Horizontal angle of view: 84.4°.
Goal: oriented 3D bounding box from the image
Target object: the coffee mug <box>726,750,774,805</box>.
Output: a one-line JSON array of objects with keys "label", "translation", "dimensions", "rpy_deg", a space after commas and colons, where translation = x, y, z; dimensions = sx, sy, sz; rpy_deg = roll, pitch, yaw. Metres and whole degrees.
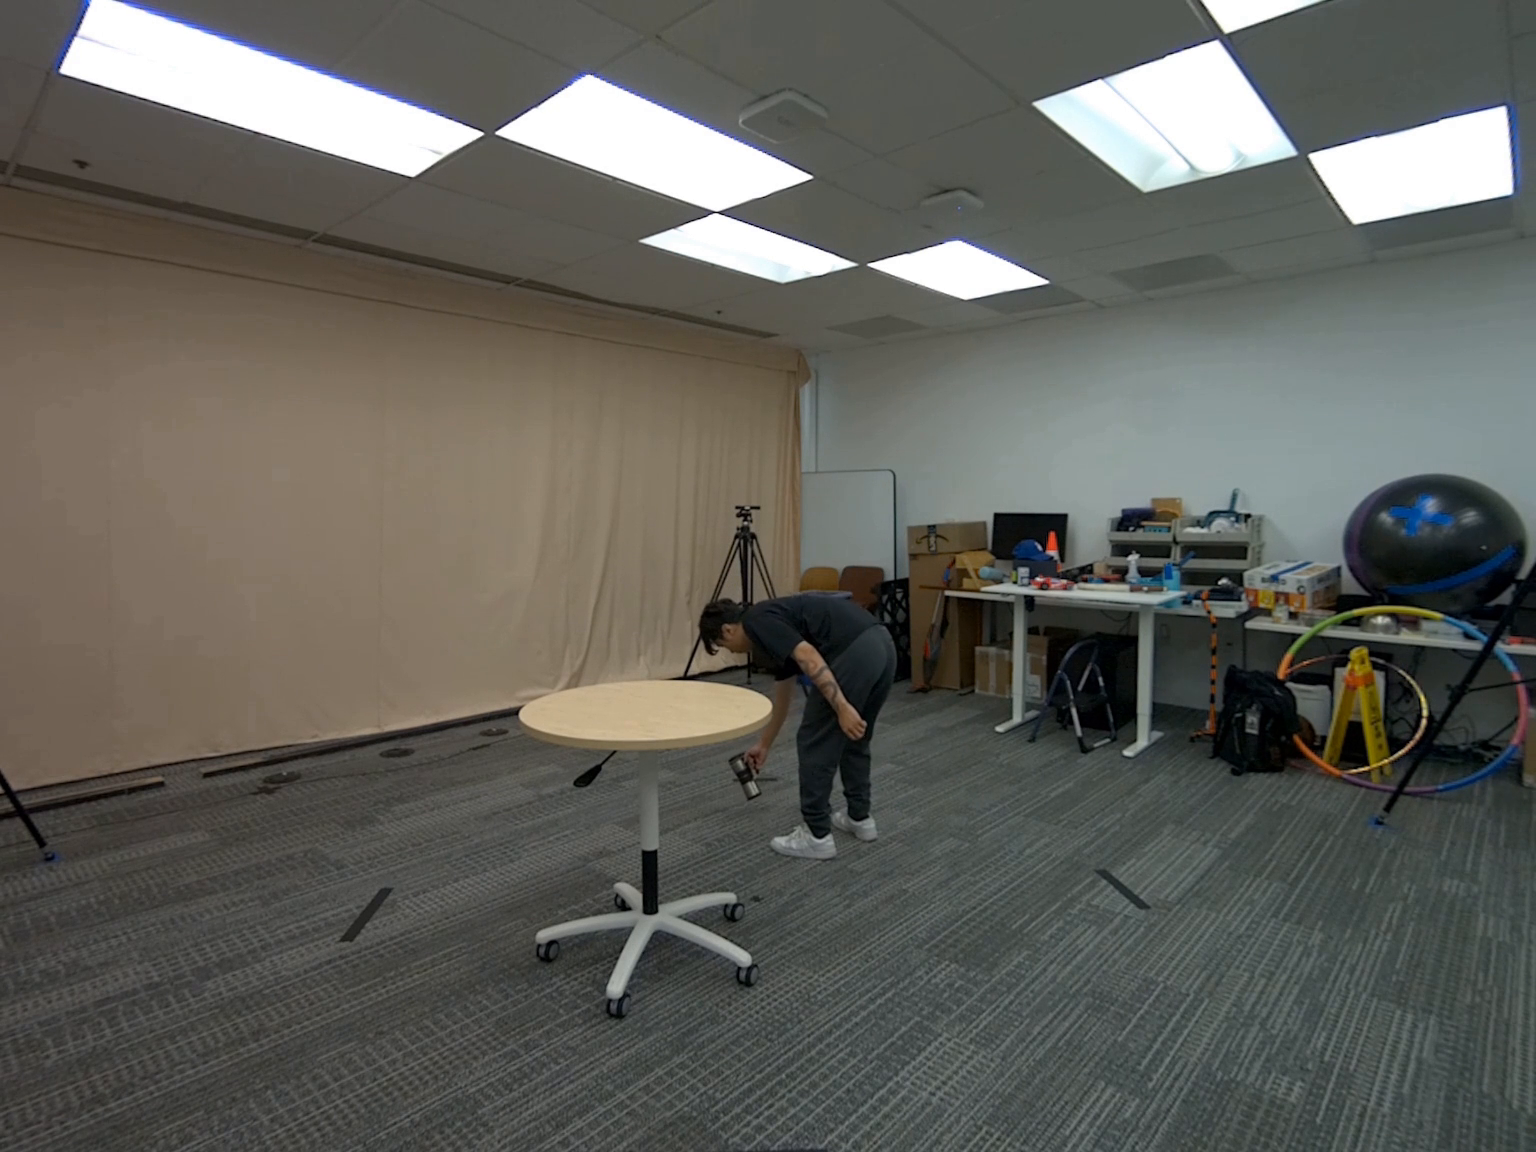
[{"label": "coffee mug", "translation": [-0.084, 0.909, 3.842], "dimensions": [0.123, 0.207, 0.085], "rpy_deg": [-33, -21, 27]}]
